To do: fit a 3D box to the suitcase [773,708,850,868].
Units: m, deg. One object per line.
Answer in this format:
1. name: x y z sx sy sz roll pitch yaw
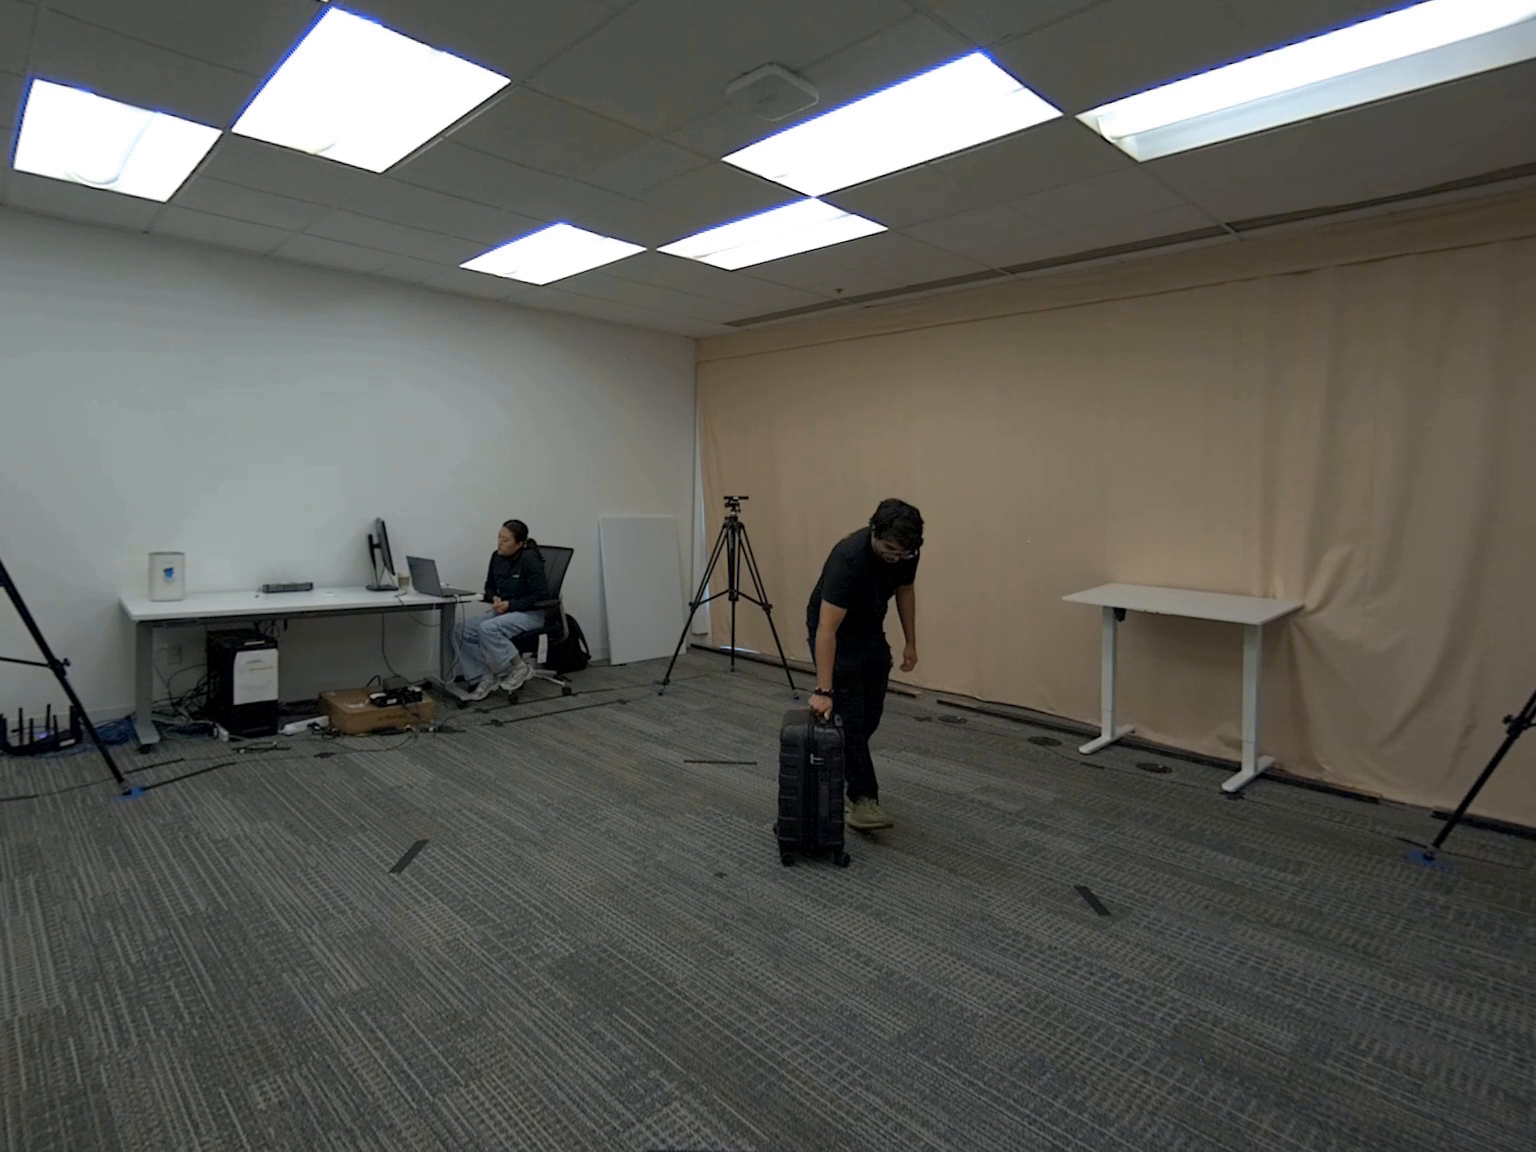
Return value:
1. suitcase: 0.165 0.815 3.327 0.249 0.548 0.375 1 3 2
